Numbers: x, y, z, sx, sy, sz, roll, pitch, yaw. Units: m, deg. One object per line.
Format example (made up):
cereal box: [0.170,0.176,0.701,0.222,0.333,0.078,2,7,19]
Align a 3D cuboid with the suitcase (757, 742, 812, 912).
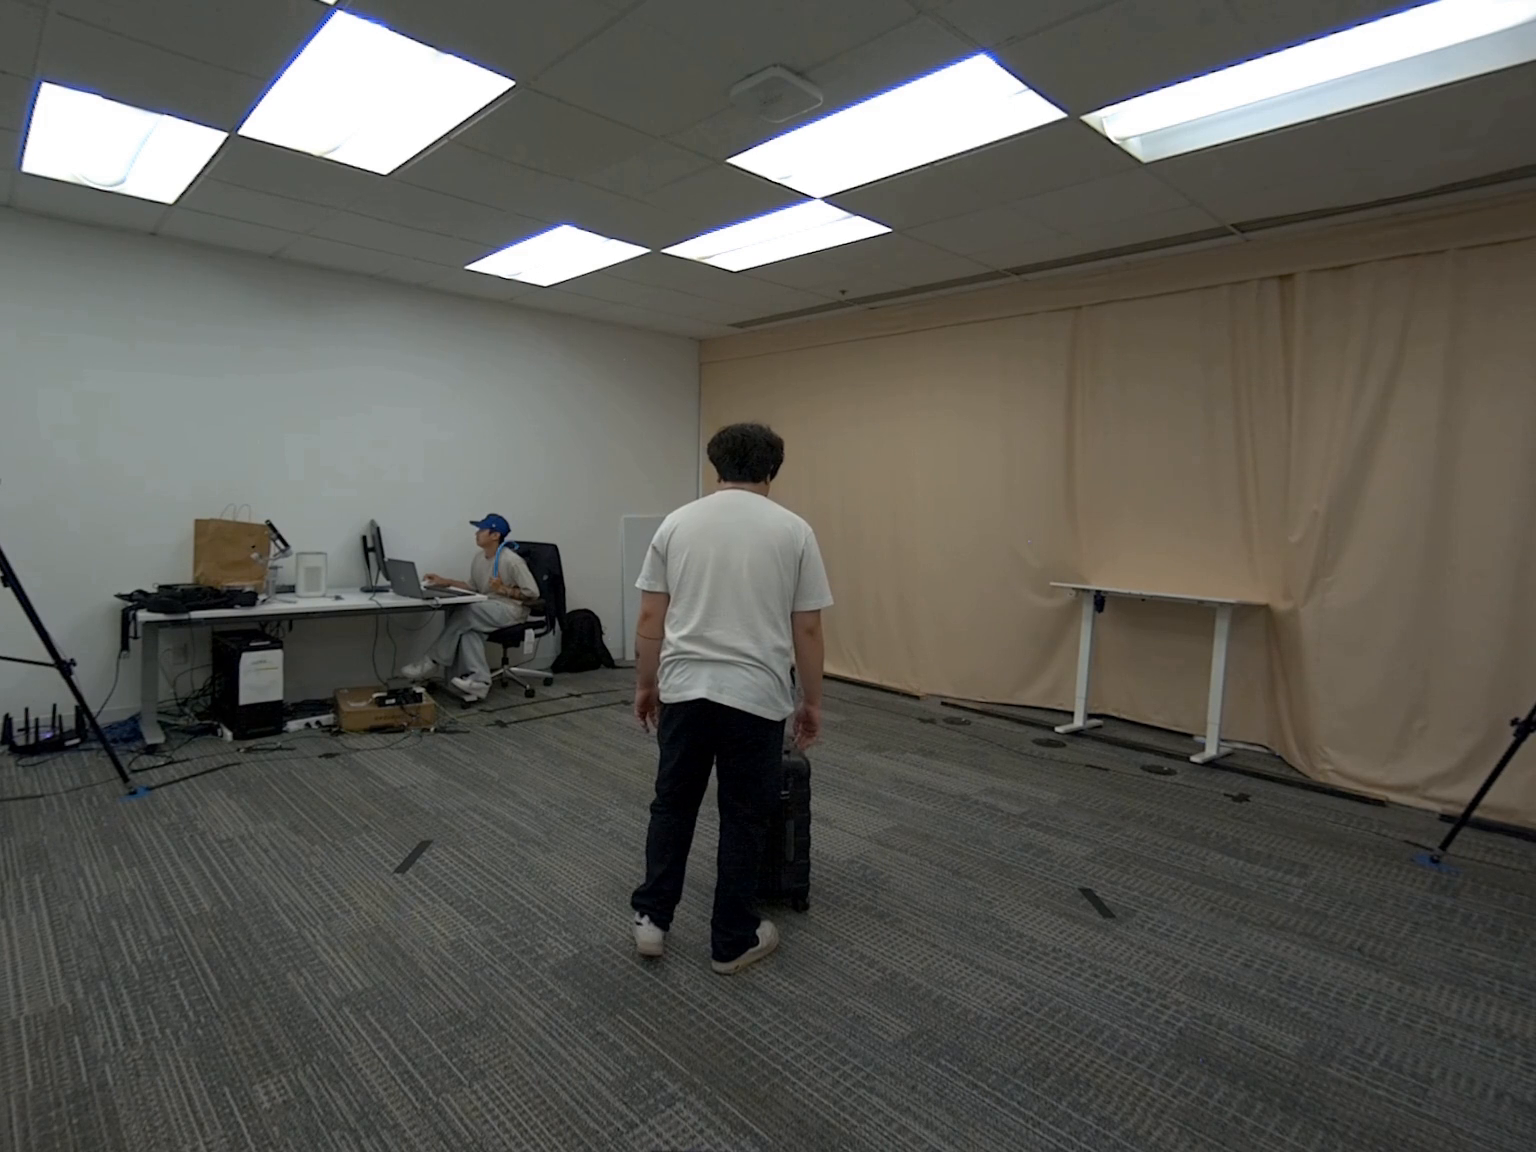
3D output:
suitcase: [0.000,0.652,2.948,0.256,0.976,0.386,-2,3,-4]
